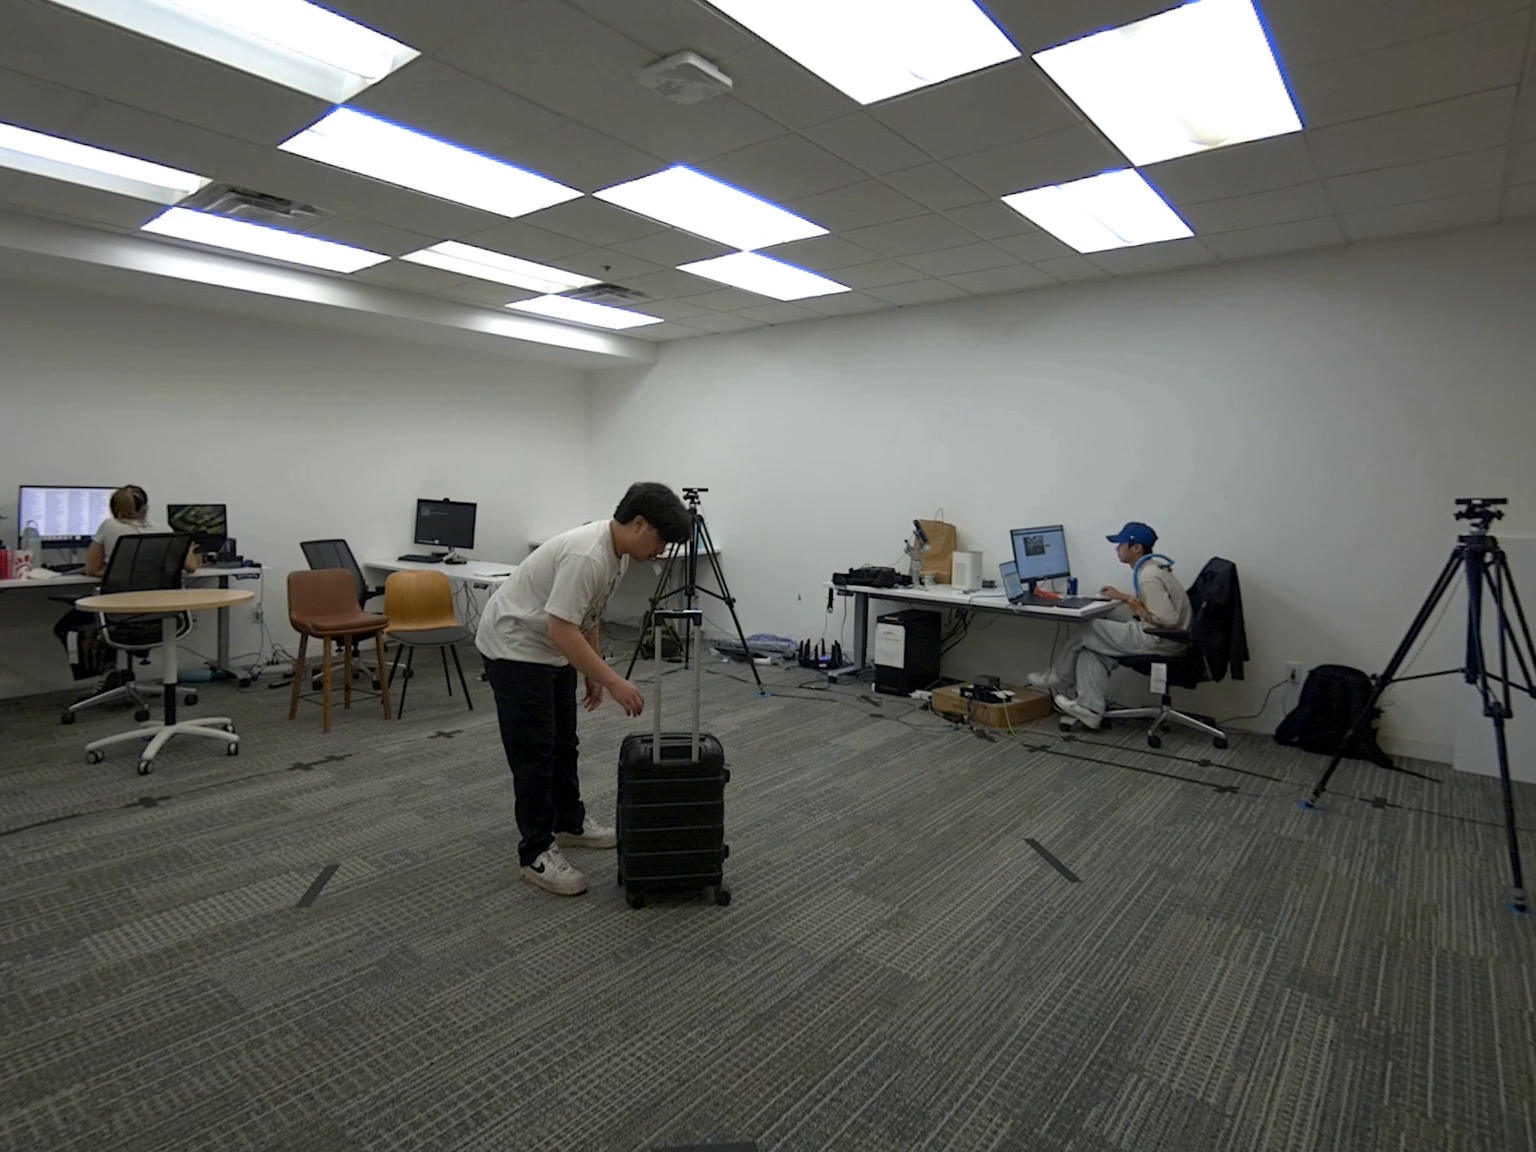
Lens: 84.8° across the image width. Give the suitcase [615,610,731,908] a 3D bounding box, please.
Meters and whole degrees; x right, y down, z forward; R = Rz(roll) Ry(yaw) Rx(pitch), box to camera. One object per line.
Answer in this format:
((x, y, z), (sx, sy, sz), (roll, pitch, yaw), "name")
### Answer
((-0.341, 0.611, 2.913), (0.380, 0.979, 0.259), (0, 0, -9), "suitcase")
